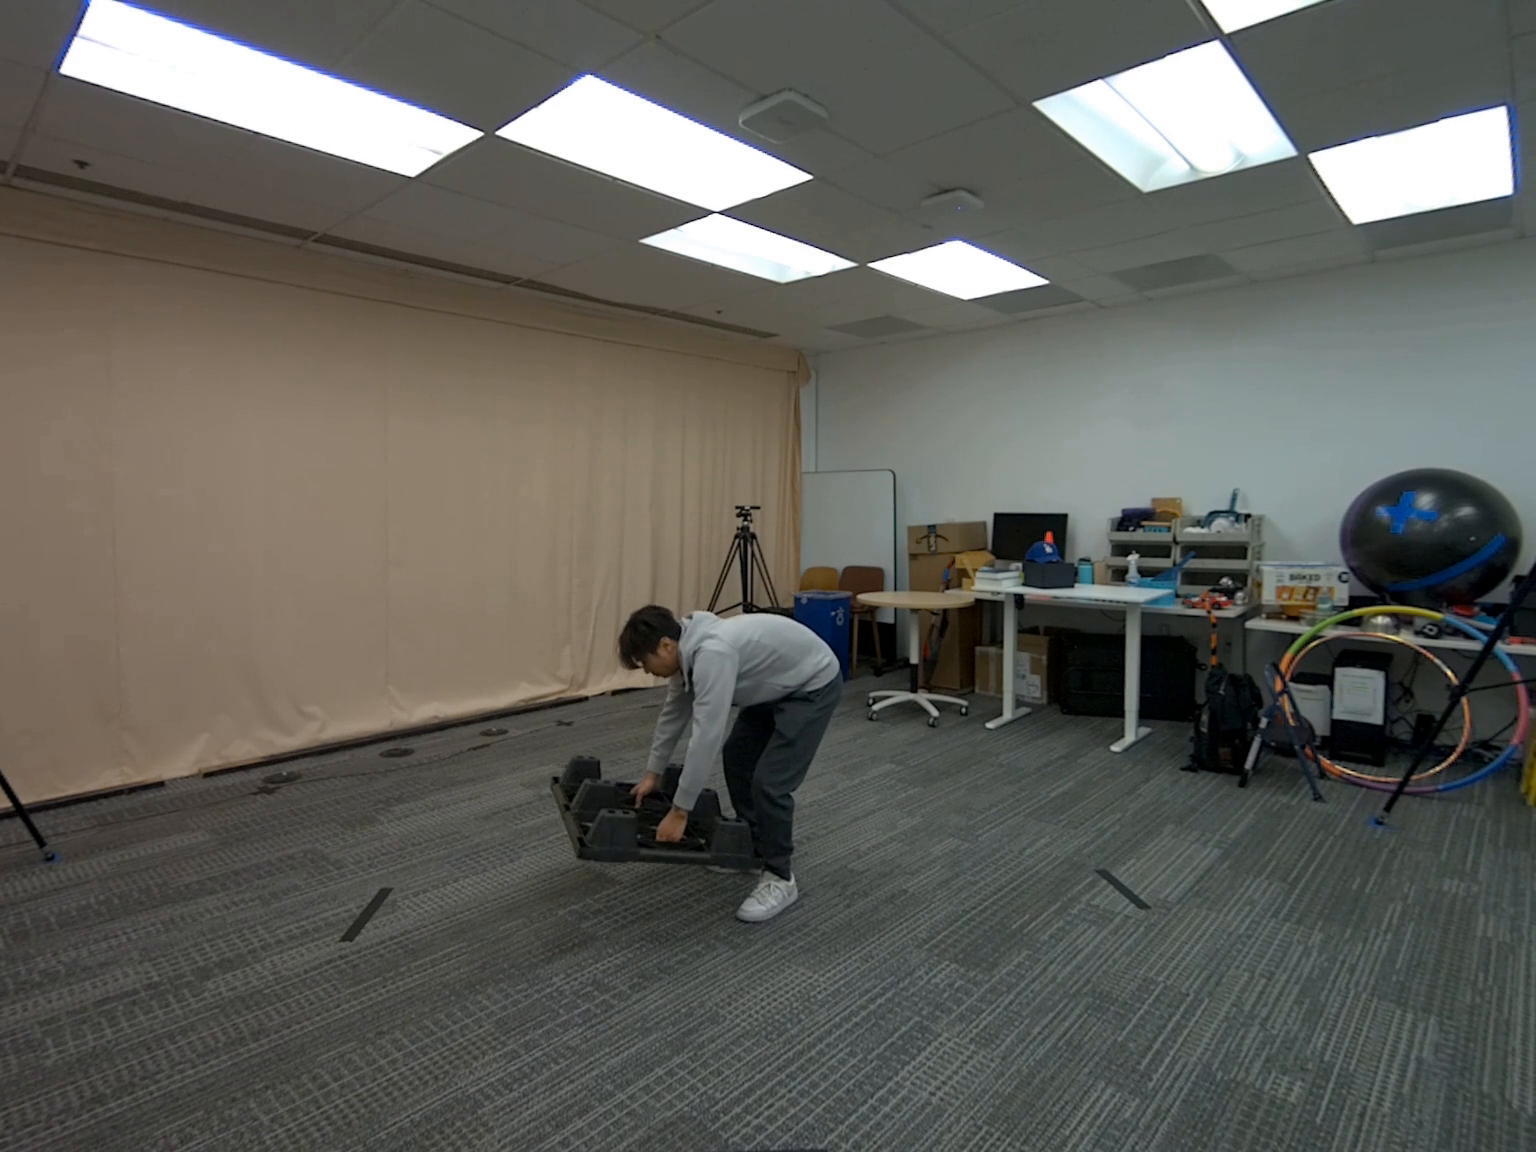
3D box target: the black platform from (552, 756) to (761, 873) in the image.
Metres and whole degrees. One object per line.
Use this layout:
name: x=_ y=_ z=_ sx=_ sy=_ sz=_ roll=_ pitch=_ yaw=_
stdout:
black platform: x=-0.412 y=0.803 z=2.947 sx=0.593 sy=0.143 sz=0.822 roll=9 pitch=-1 yaw=-19
